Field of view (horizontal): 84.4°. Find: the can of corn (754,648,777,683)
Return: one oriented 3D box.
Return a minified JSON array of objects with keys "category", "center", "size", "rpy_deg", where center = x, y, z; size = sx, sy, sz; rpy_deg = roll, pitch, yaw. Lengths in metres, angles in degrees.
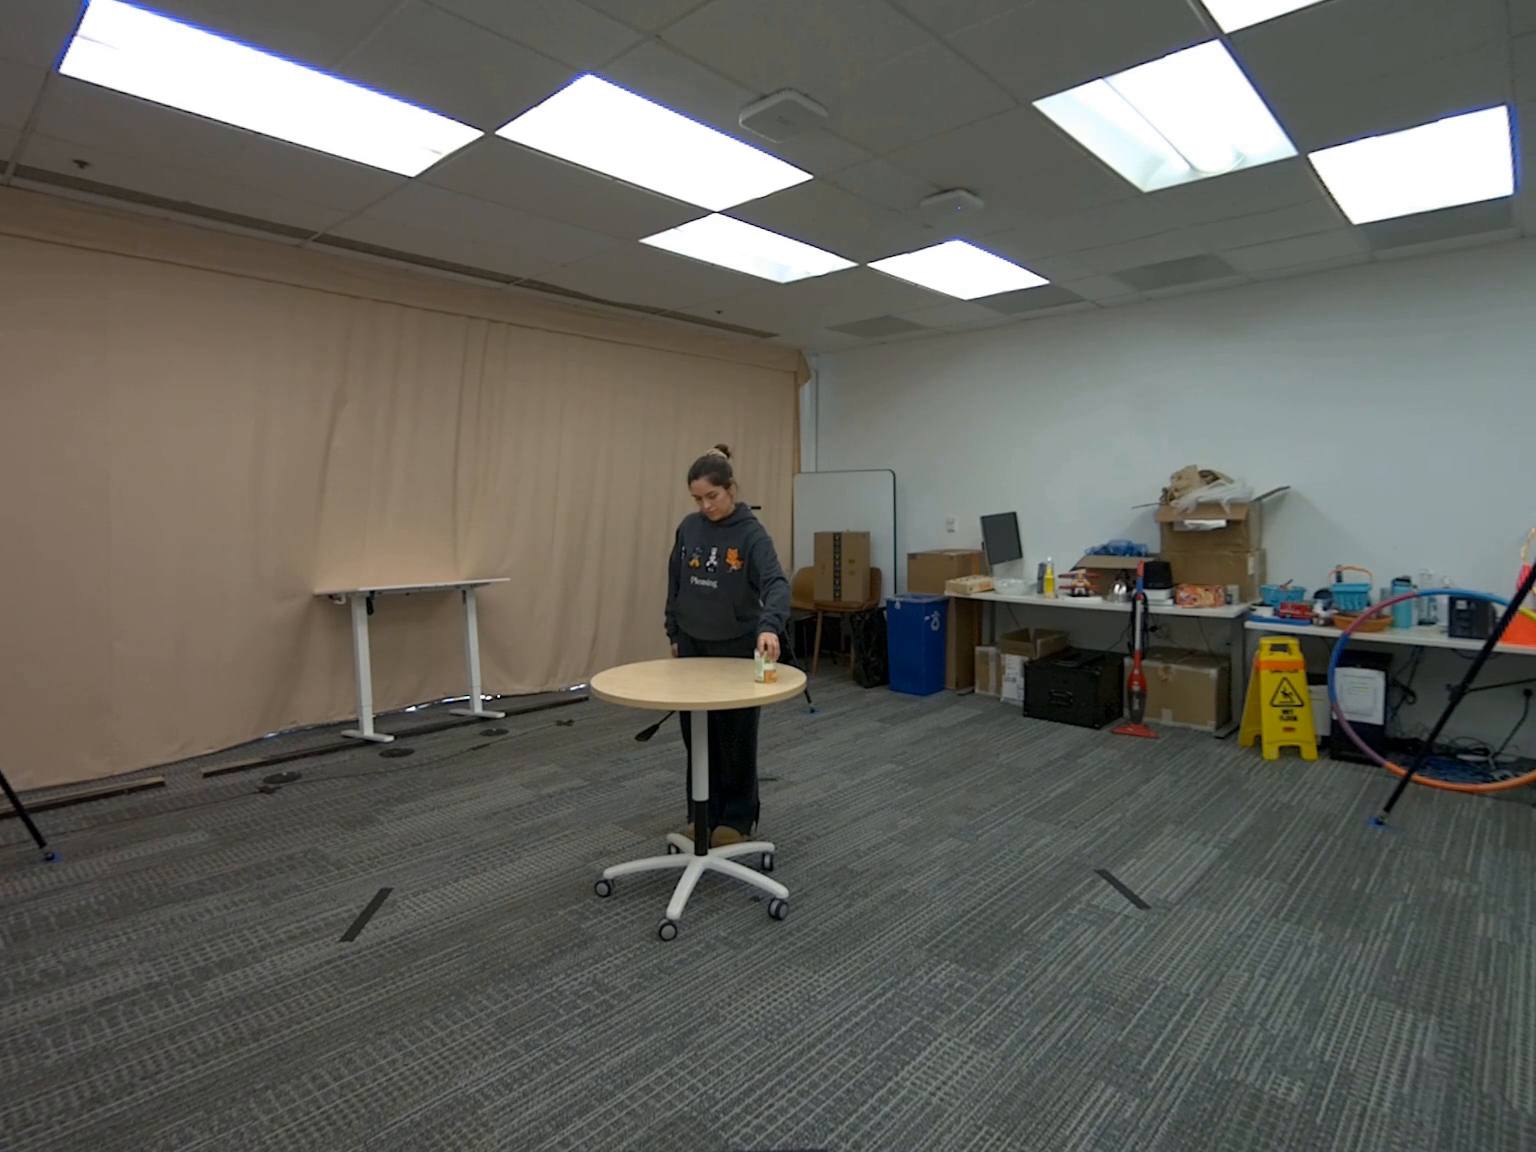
[{"category":"can of corn","center":[0.004,0.300,2.916],"size":[0.074,0.111,0.074],"rpy_deg":[4,2,-2]}]
